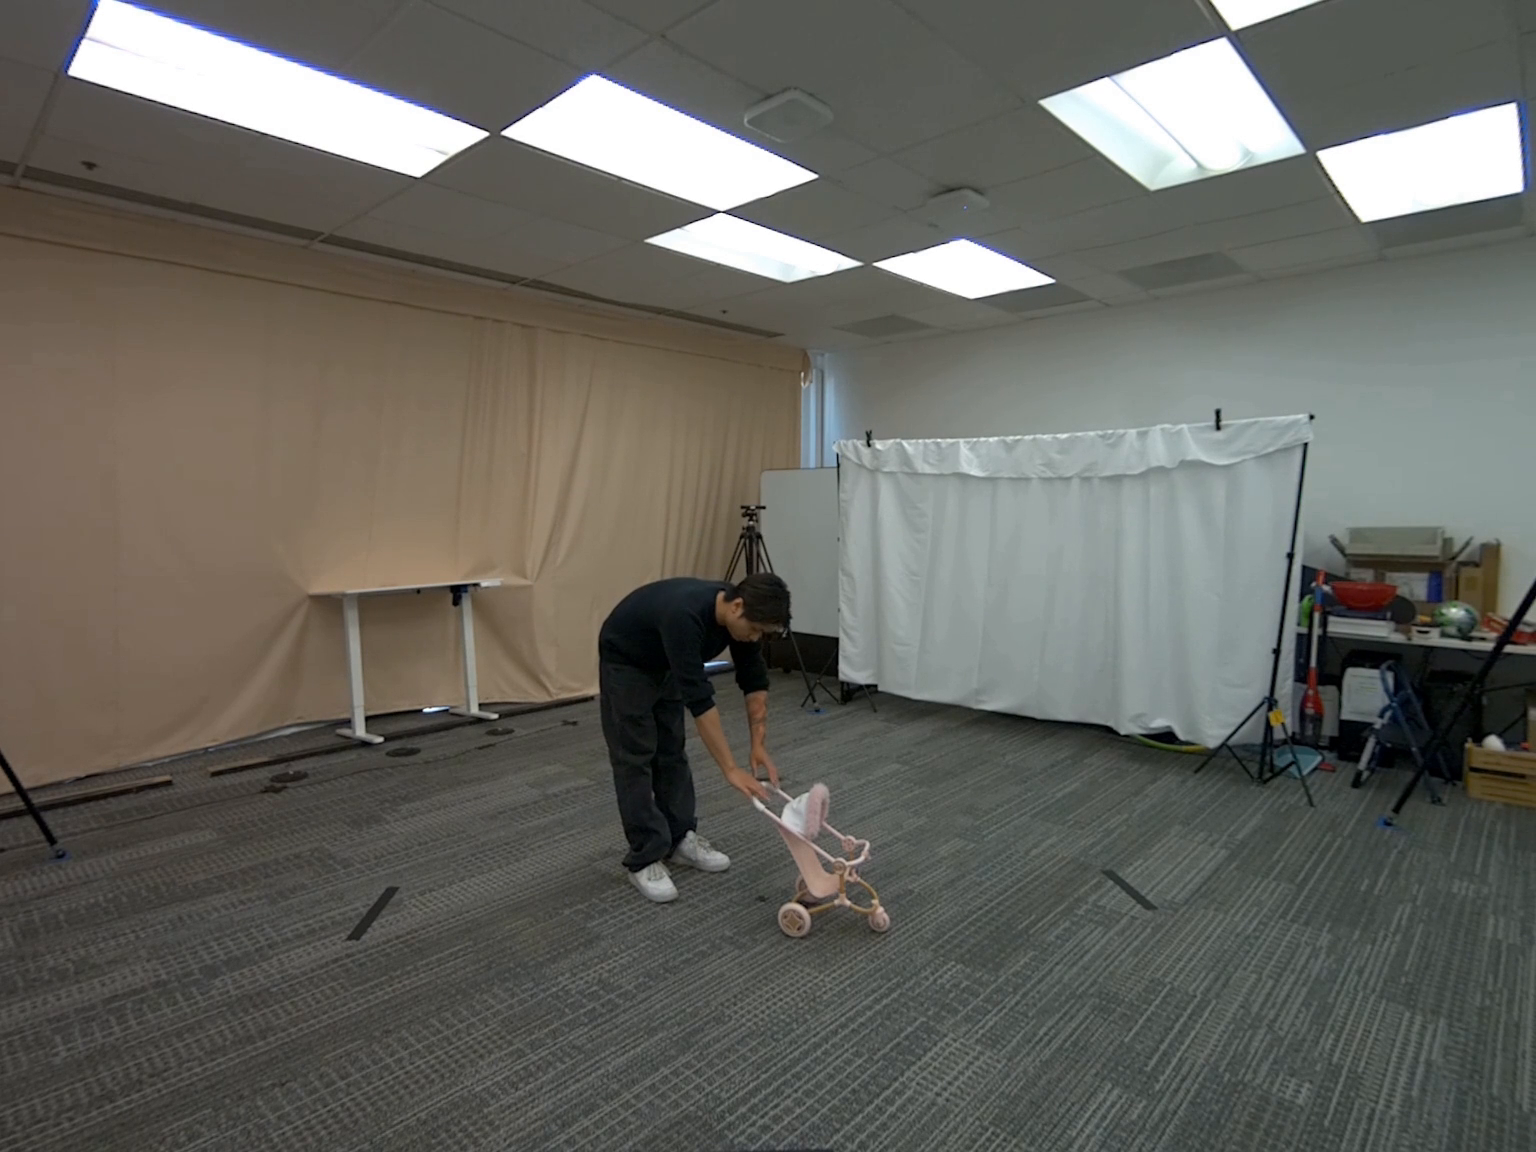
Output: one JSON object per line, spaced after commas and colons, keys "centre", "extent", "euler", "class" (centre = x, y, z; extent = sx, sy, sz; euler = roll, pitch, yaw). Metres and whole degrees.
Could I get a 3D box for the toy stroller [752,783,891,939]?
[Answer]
{"centre": [0.180, 0.933, 2.803], "extent": [0.347, 0.536, 0.276], "euler": [-16, -2, 22], "class": "toy stroller"}
